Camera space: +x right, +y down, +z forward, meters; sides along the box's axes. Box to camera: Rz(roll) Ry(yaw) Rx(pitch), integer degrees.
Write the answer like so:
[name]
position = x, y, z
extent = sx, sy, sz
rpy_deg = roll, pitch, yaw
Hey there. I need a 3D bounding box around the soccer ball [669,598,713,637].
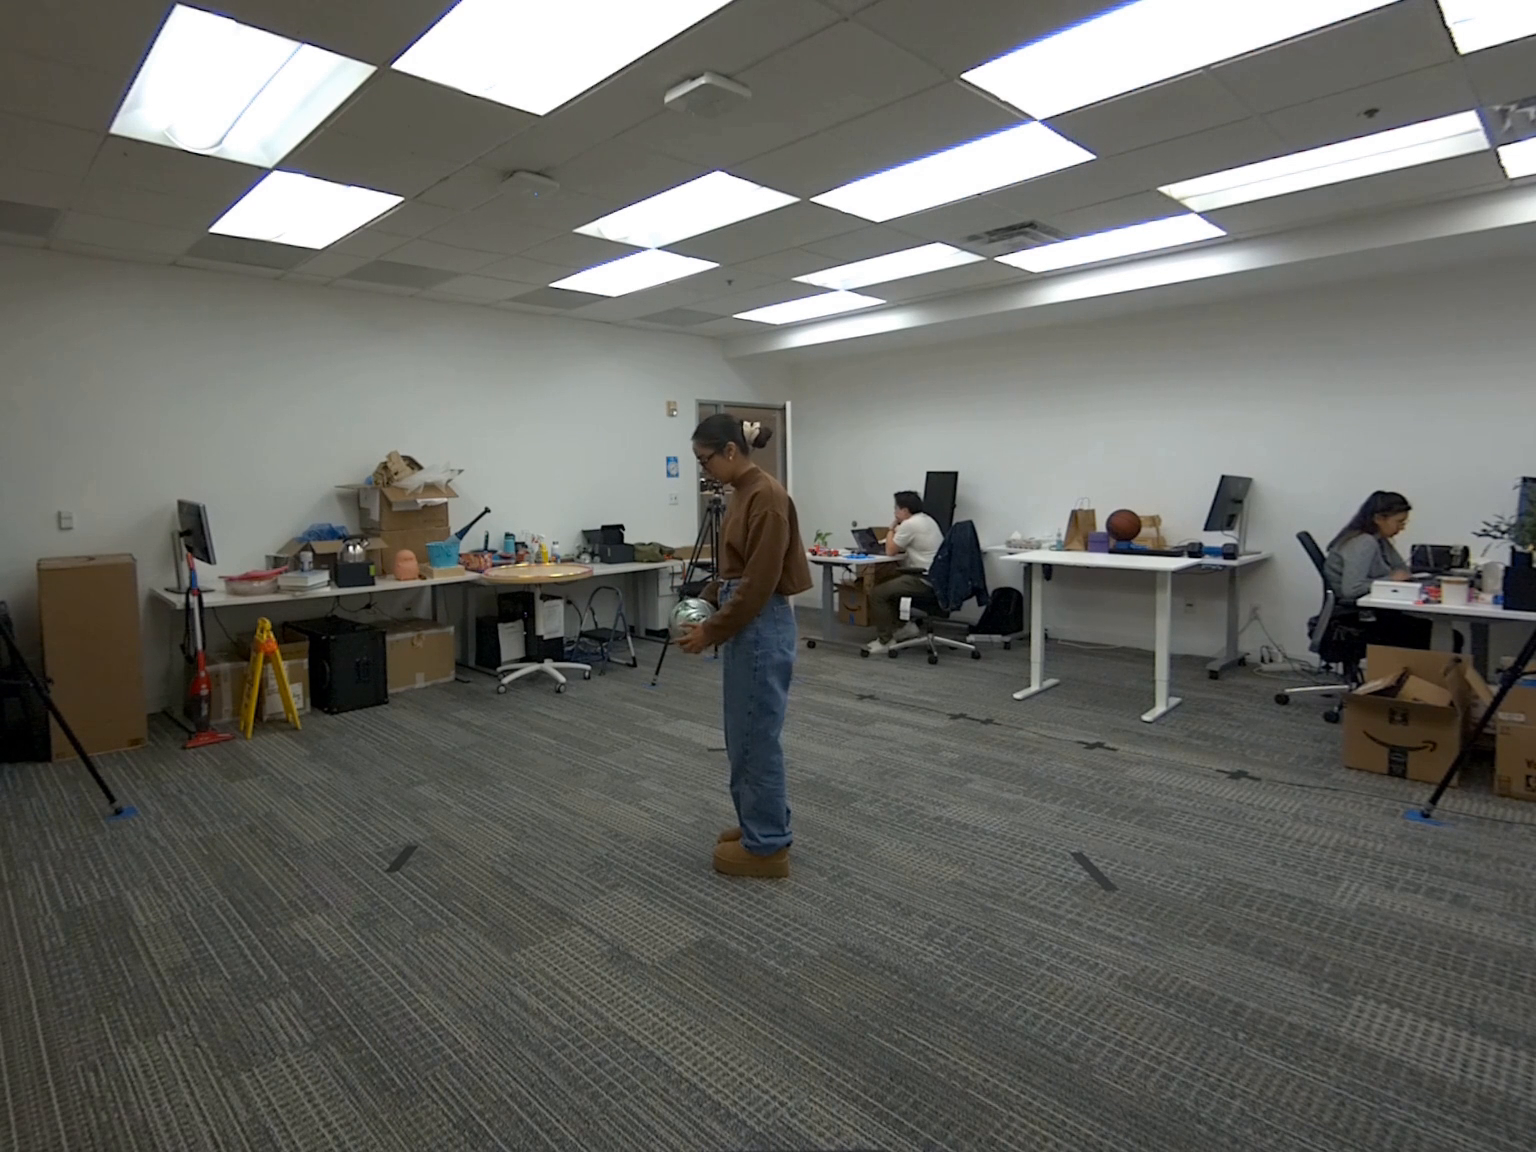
[soccer ball]
position = -0.256, 0.169, 3.037
extent = 0.187, 0.187, 0.188
rpy_deg = -1, 5, -2
